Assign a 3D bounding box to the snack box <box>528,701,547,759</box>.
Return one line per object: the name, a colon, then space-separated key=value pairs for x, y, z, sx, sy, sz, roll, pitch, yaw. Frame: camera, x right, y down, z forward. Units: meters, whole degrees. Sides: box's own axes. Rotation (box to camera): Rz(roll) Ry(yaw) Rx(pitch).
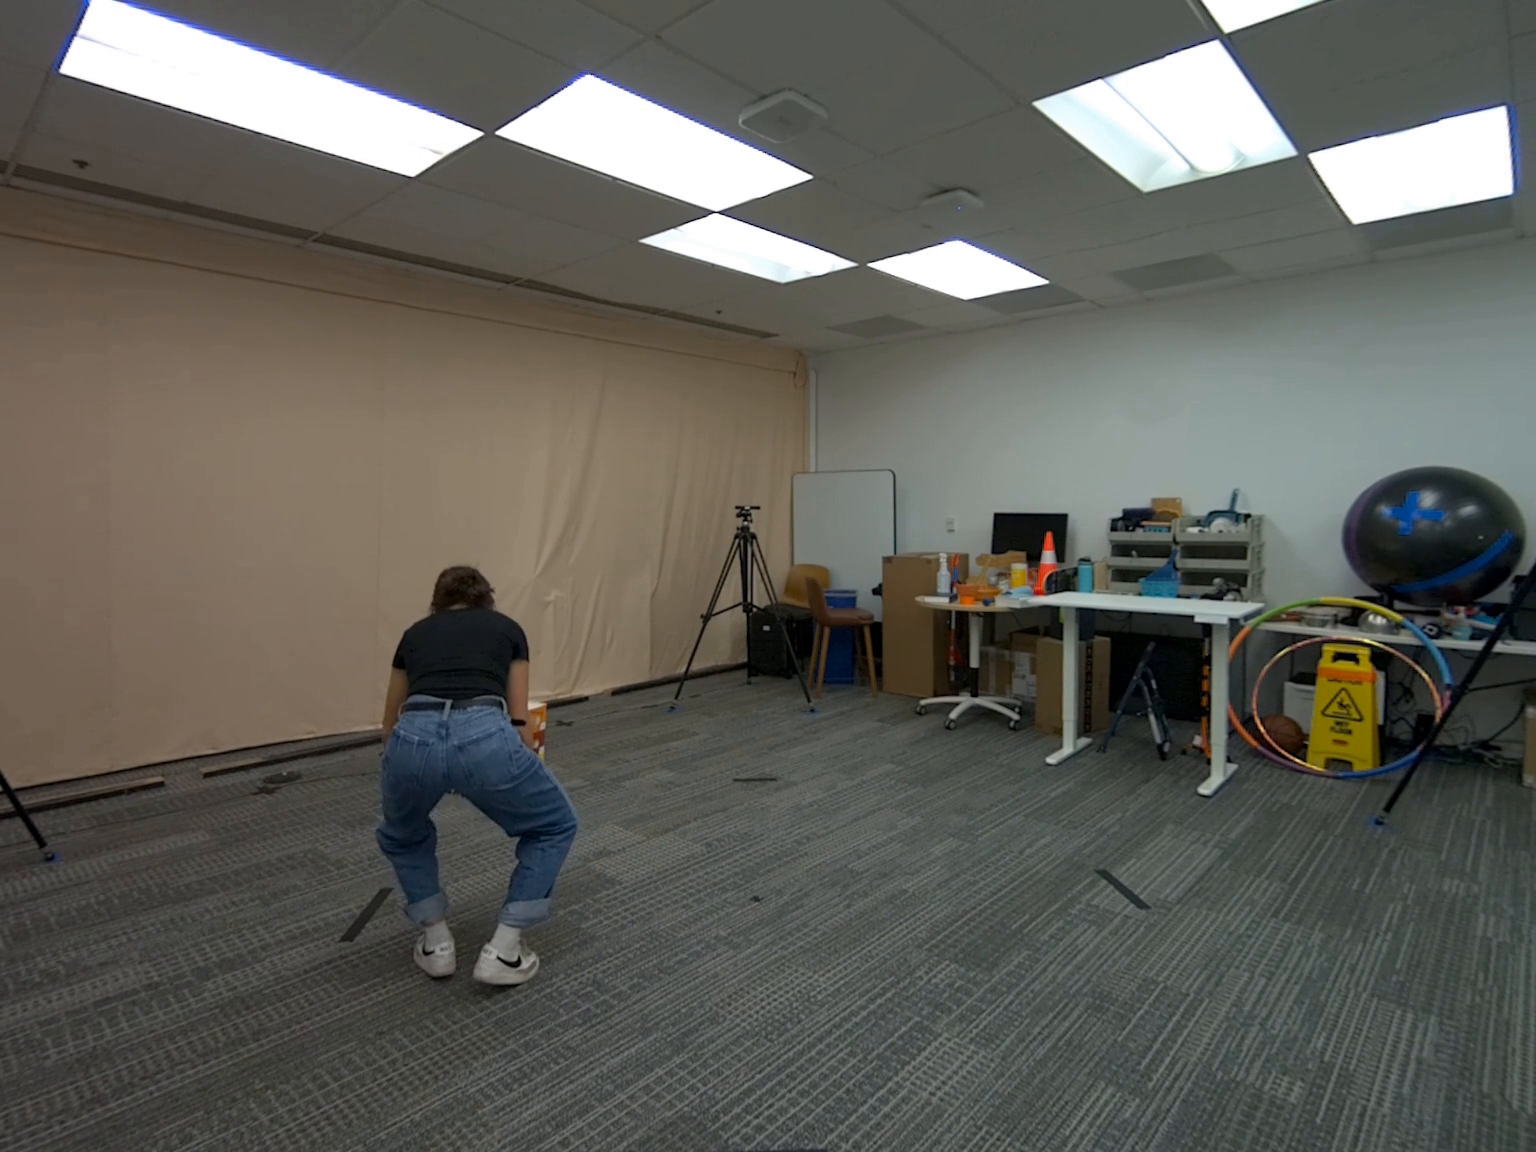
snack box: x=-0.991 y=0.590 z=2.860 sx=0.415 sy=0.340 sz=0.201 roll=5 pitch=4 yaw=24
